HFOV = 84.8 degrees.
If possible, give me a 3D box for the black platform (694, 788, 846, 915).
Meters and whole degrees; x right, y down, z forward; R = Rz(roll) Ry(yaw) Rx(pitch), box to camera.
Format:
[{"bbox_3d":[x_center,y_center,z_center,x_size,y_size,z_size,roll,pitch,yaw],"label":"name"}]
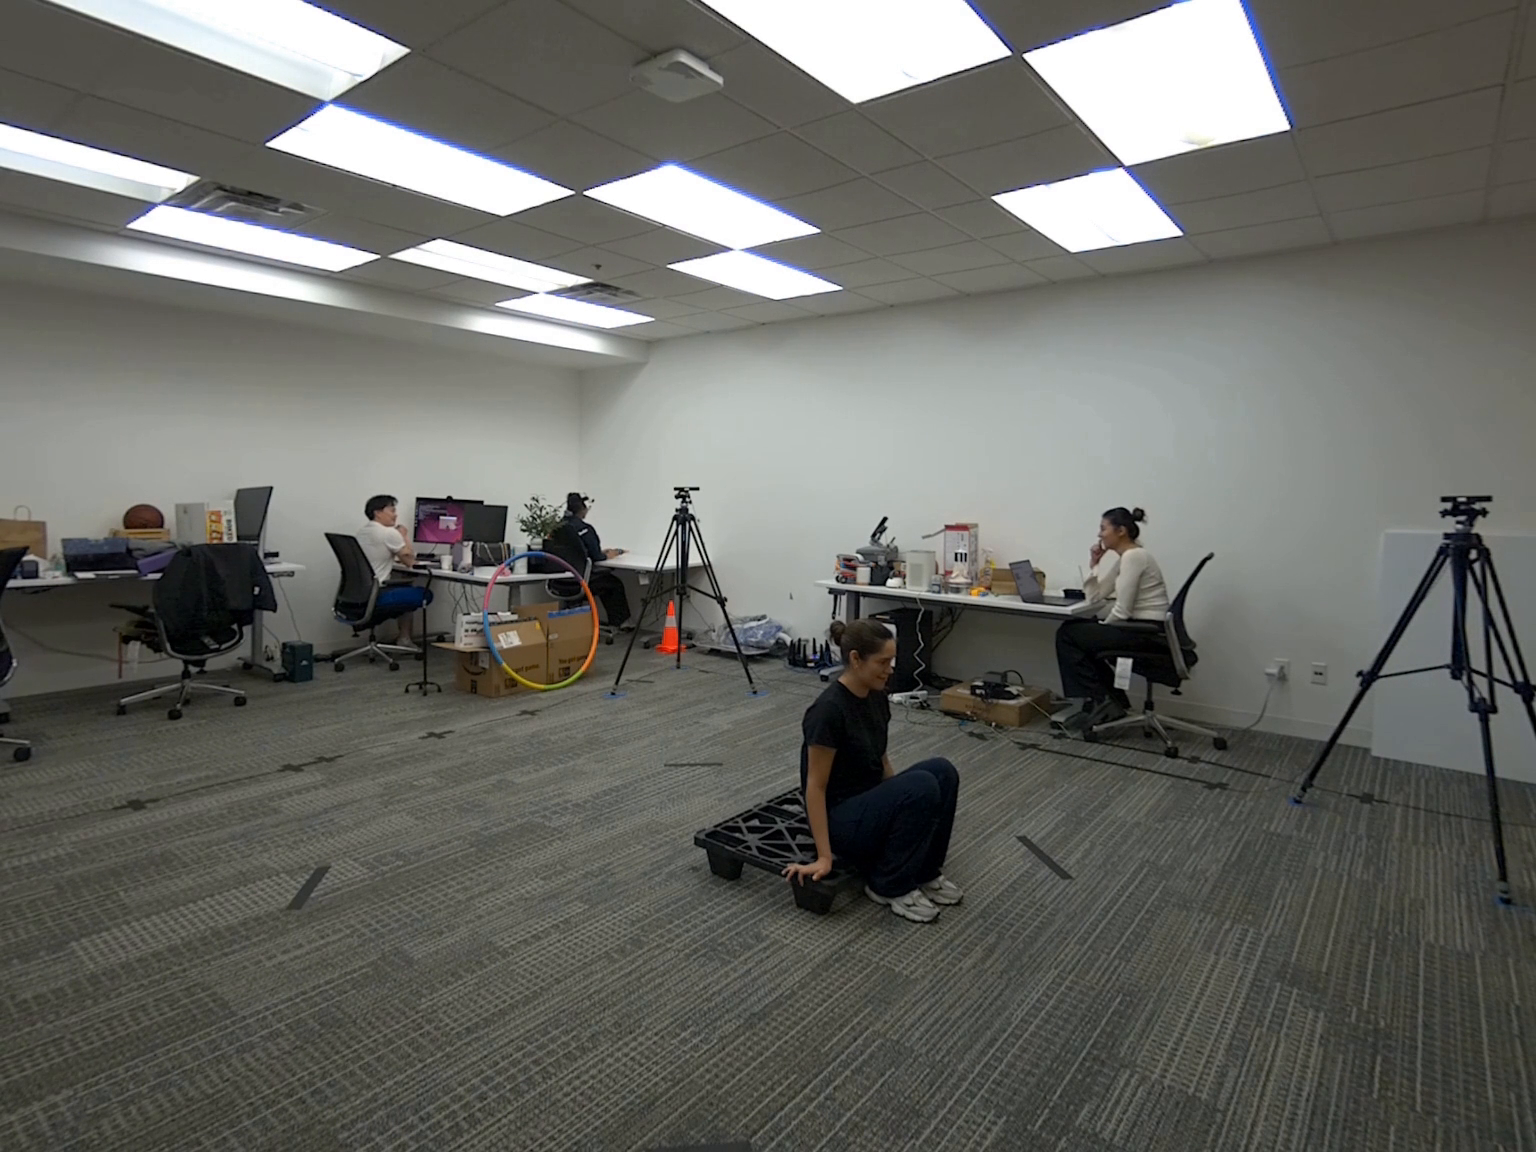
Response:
[{"bbox_3d":[0.202,0.996,3.212,0.625,0.143,0.782,4,6,38],"label":"black platform"}]
